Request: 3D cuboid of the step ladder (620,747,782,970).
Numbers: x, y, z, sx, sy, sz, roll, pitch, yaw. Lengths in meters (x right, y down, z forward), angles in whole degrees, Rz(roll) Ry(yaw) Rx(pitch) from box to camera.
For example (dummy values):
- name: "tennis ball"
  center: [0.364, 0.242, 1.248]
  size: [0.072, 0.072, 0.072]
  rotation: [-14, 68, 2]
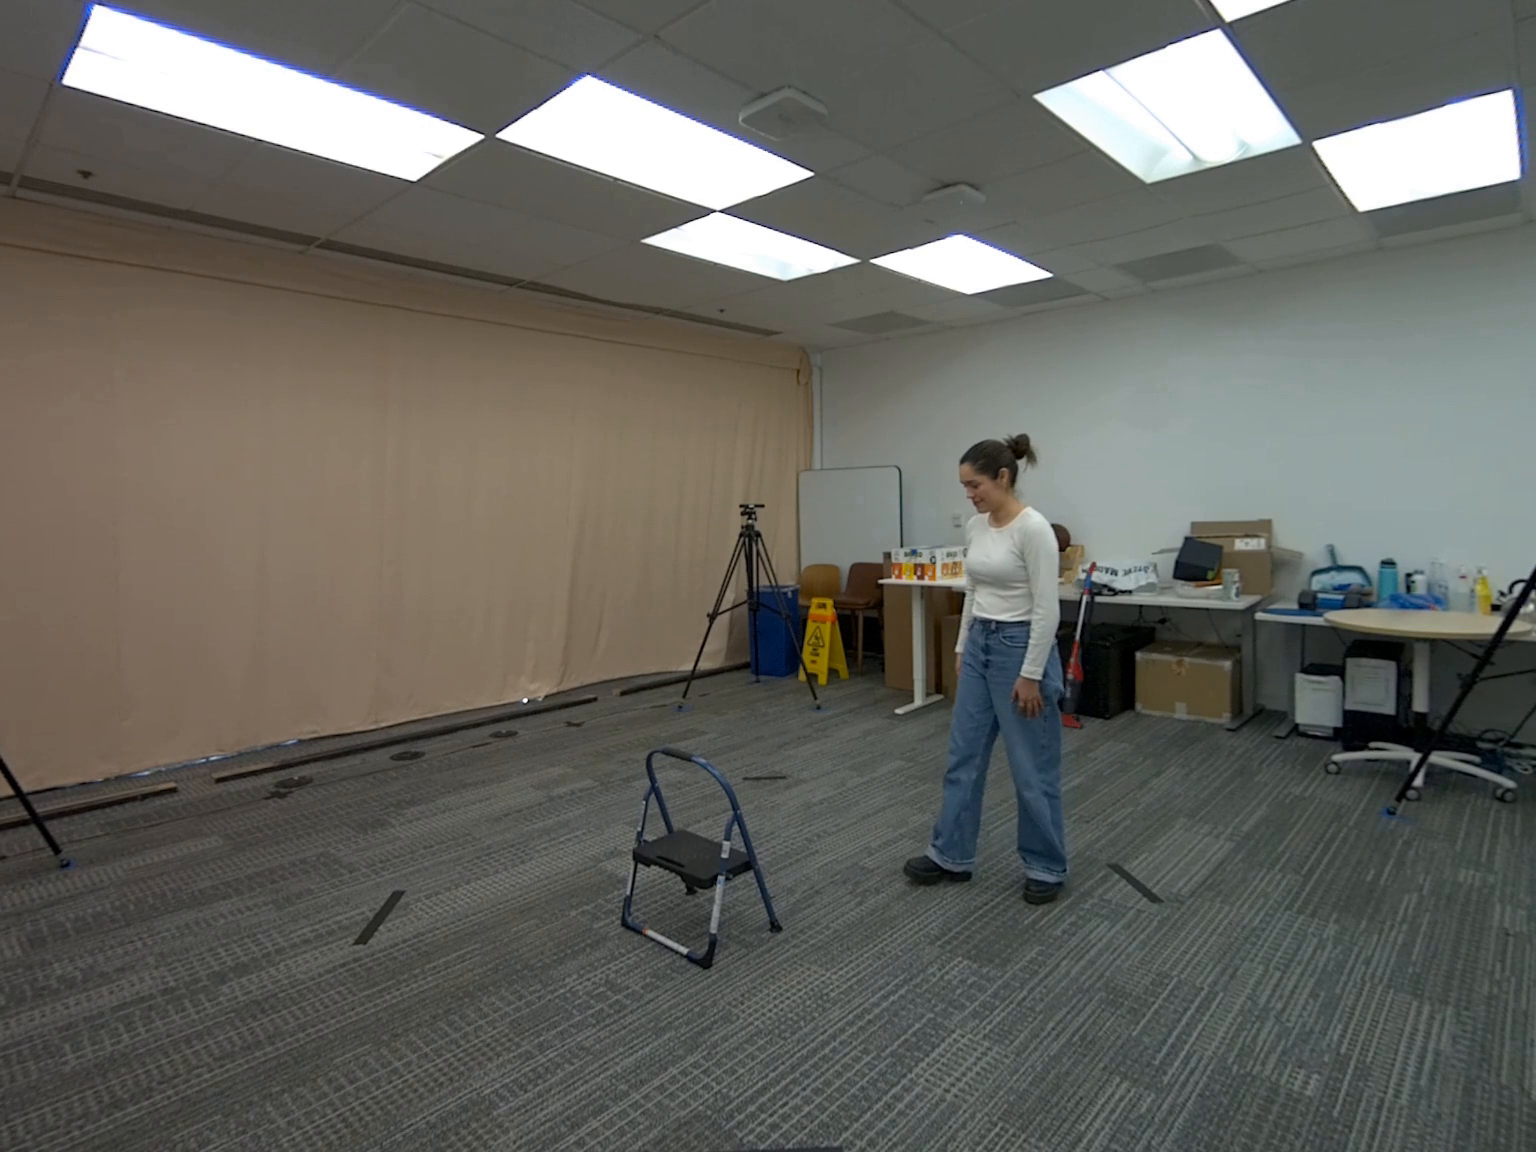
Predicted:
- name: "step ladder"
  center: [-0.229, 0.859, 2.767]
  size: [0.445, 0.605, 0.339]
  rotation: [2, 4, 41]
